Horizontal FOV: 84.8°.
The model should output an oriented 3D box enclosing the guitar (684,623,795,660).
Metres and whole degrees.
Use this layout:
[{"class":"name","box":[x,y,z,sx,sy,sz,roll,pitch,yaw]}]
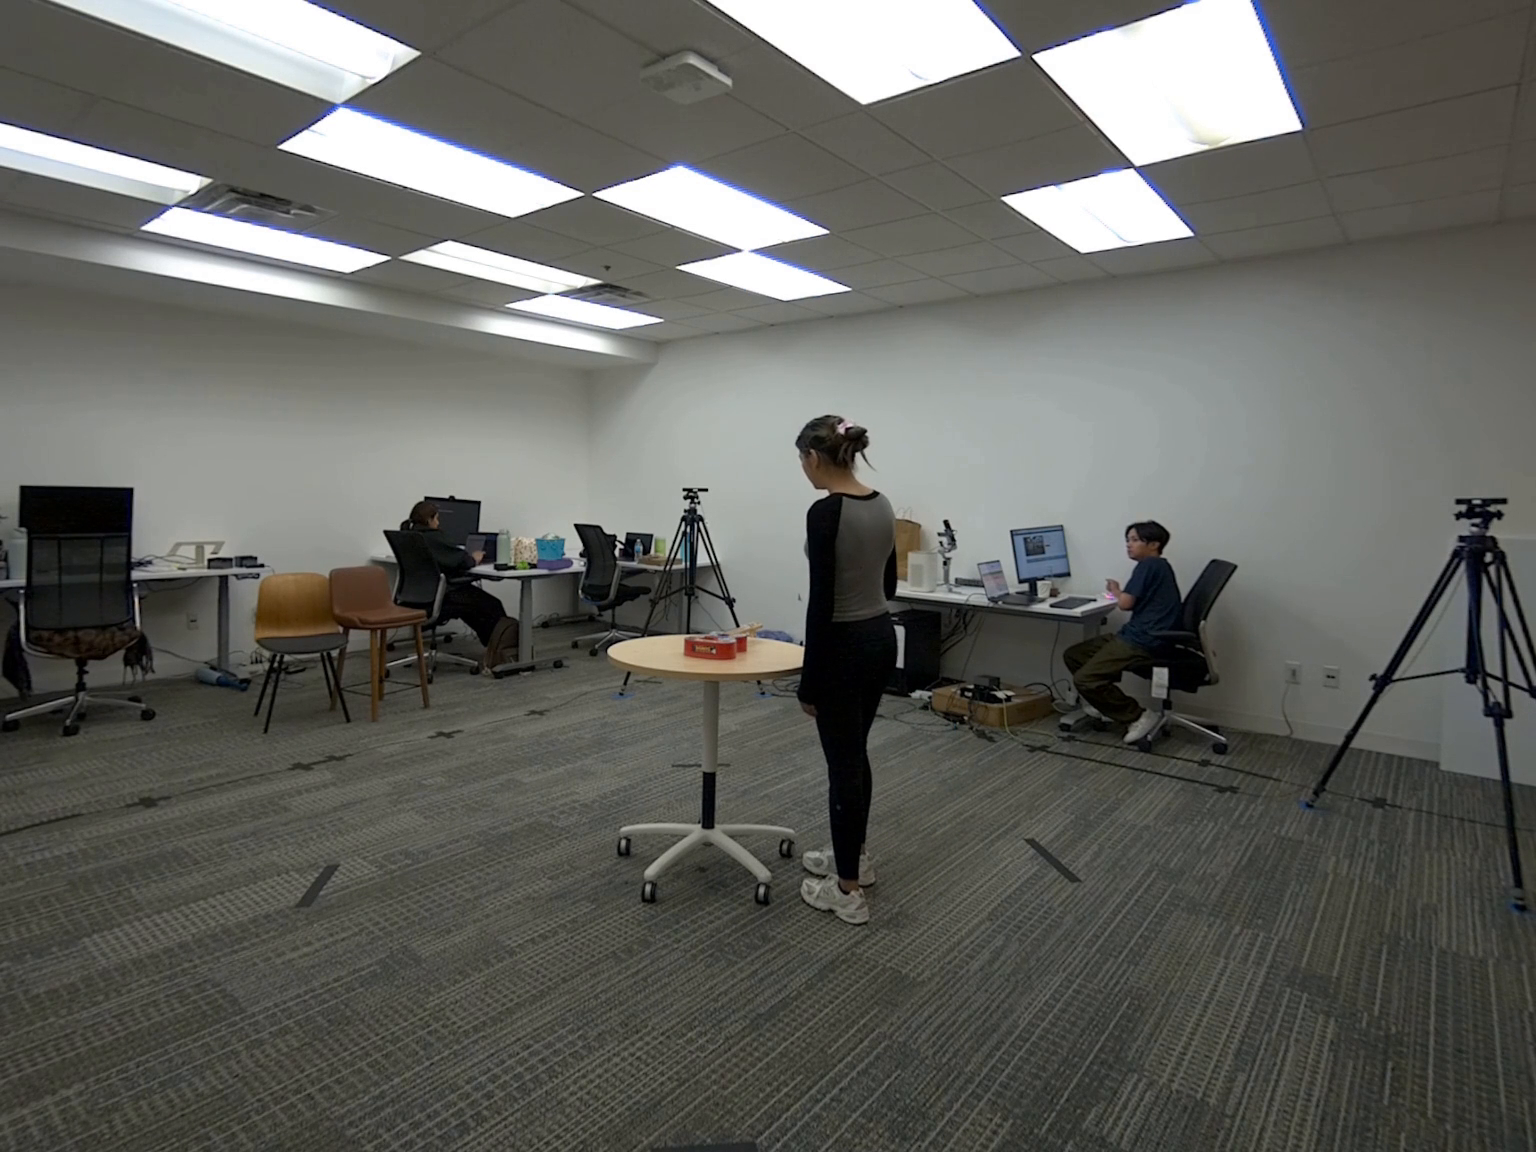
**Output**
[{"class":"guitar","box":[-0.122,0.239,3.184,0.199,0.070,0.484,5,6,31]}]
